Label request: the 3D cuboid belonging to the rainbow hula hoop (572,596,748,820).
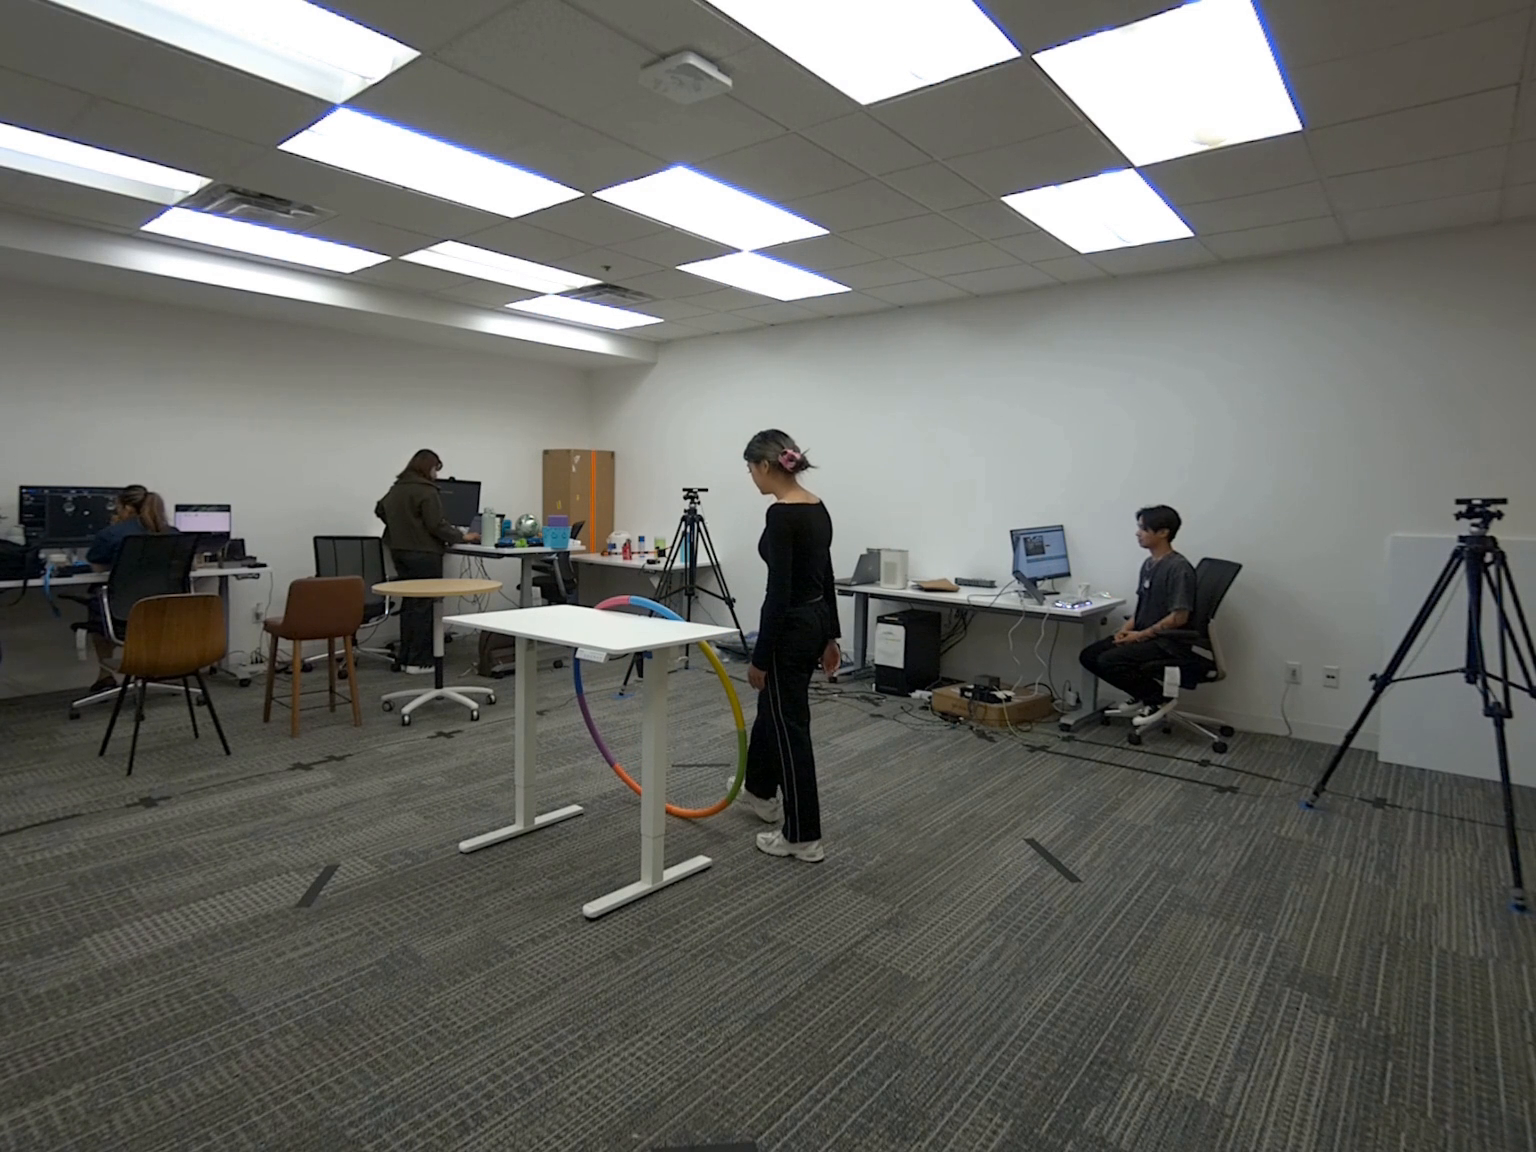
[{"bbox_3d":[-0.489,0.551,3.537,1.011,0.964,0.035,4,18,39],"label":"rainbow hula hoop"}]
